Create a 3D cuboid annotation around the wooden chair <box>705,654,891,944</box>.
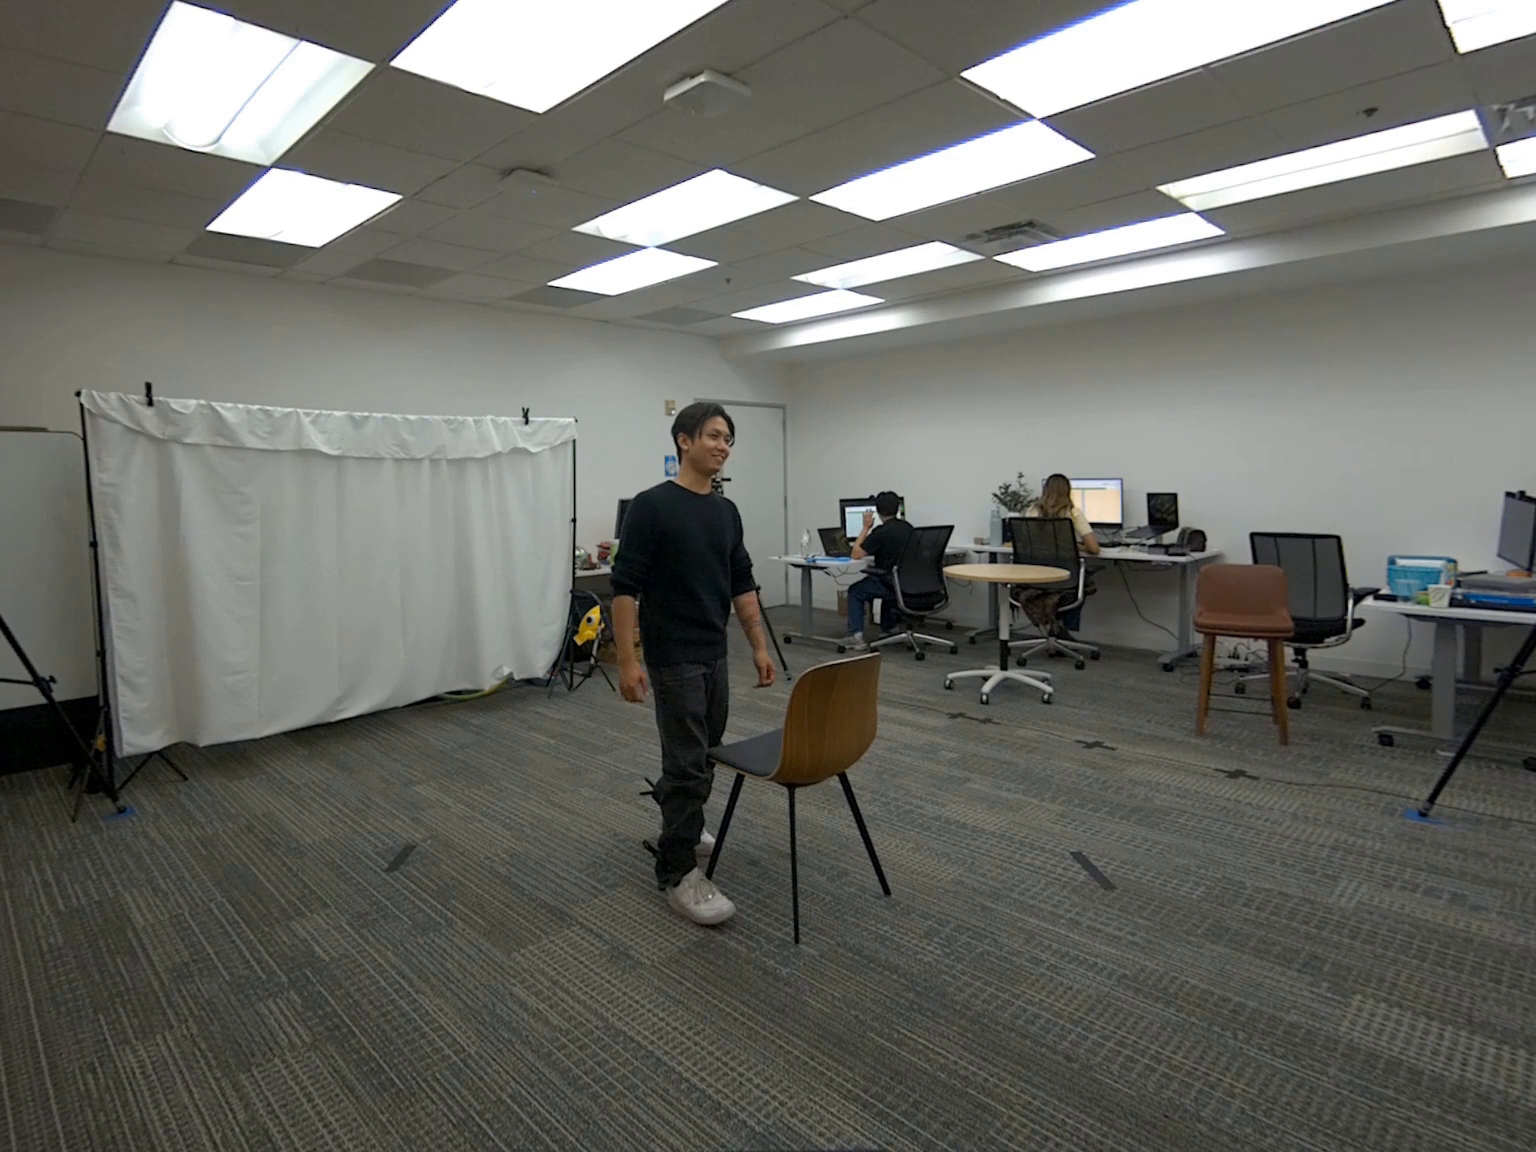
[{"bbox_3d":[0.081,0.640,2.841,0.466,0.871,0.540,-5,10,-42],"label":"wooden chair"}]
